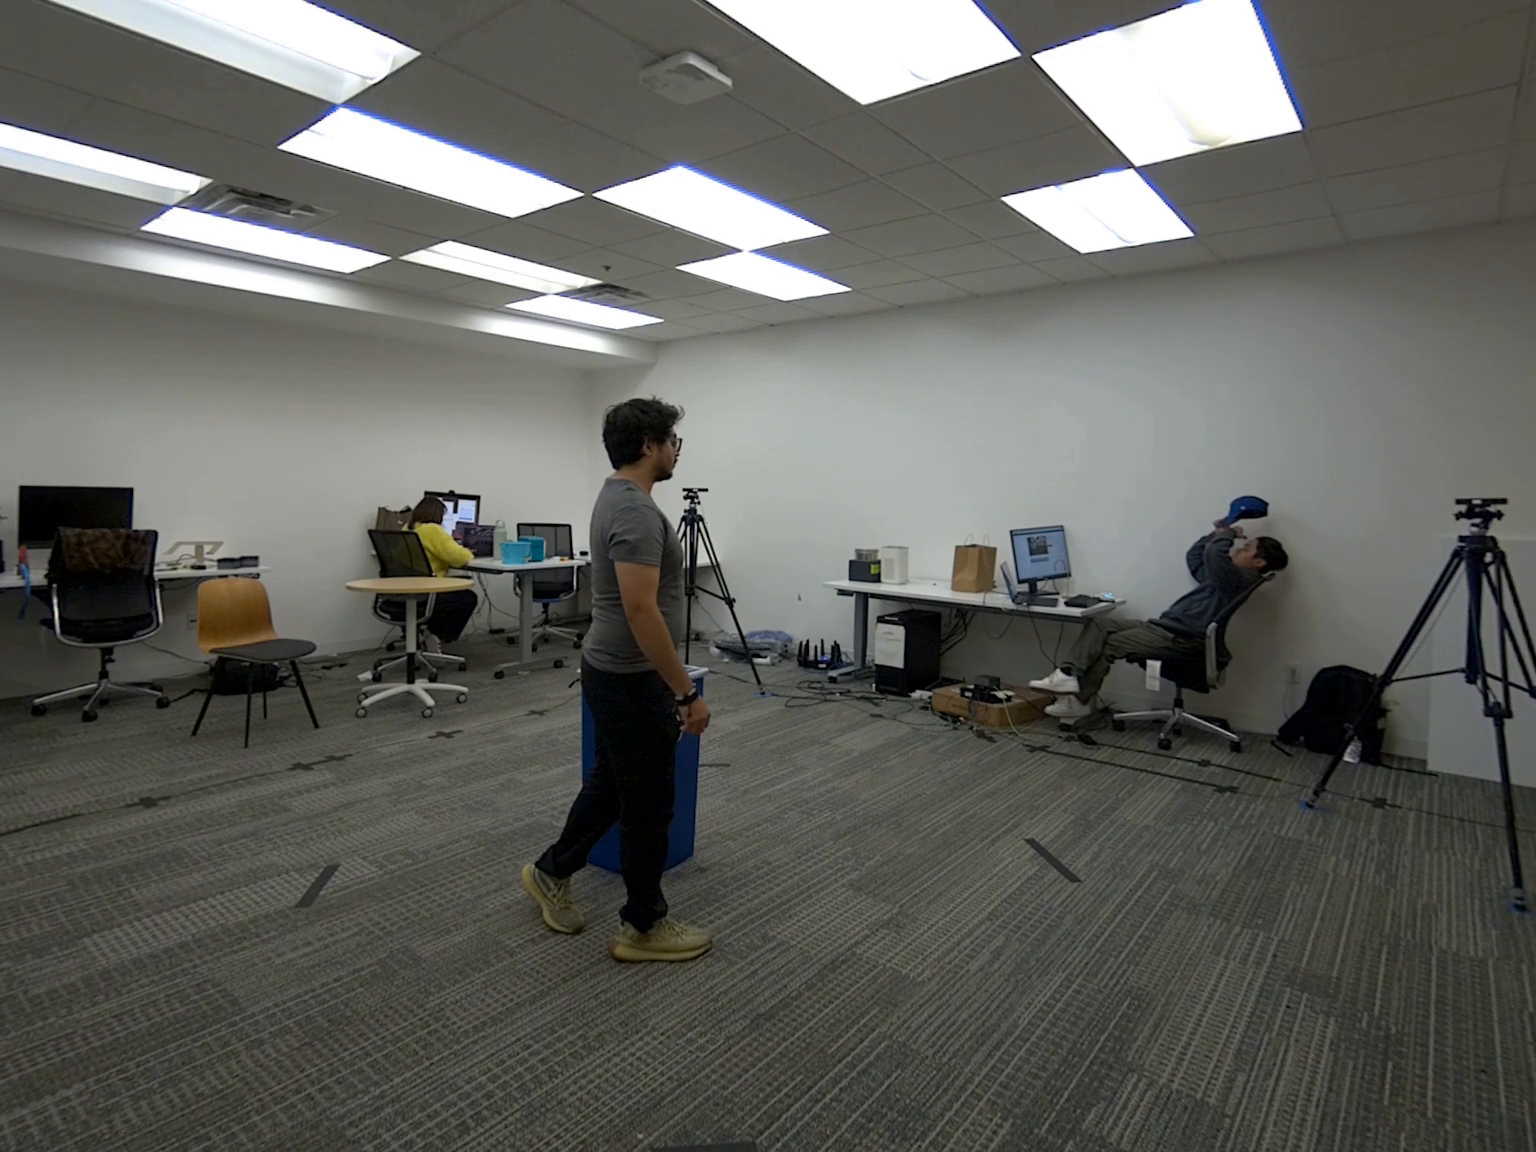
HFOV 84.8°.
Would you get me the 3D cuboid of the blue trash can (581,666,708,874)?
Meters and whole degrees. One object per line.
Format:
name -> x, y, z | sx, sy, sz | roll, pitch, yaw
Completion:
blue trash can -> -0.480, 0.698, 3.187 | 0.390, 0.711, 0.364 | 3, 4, 32
